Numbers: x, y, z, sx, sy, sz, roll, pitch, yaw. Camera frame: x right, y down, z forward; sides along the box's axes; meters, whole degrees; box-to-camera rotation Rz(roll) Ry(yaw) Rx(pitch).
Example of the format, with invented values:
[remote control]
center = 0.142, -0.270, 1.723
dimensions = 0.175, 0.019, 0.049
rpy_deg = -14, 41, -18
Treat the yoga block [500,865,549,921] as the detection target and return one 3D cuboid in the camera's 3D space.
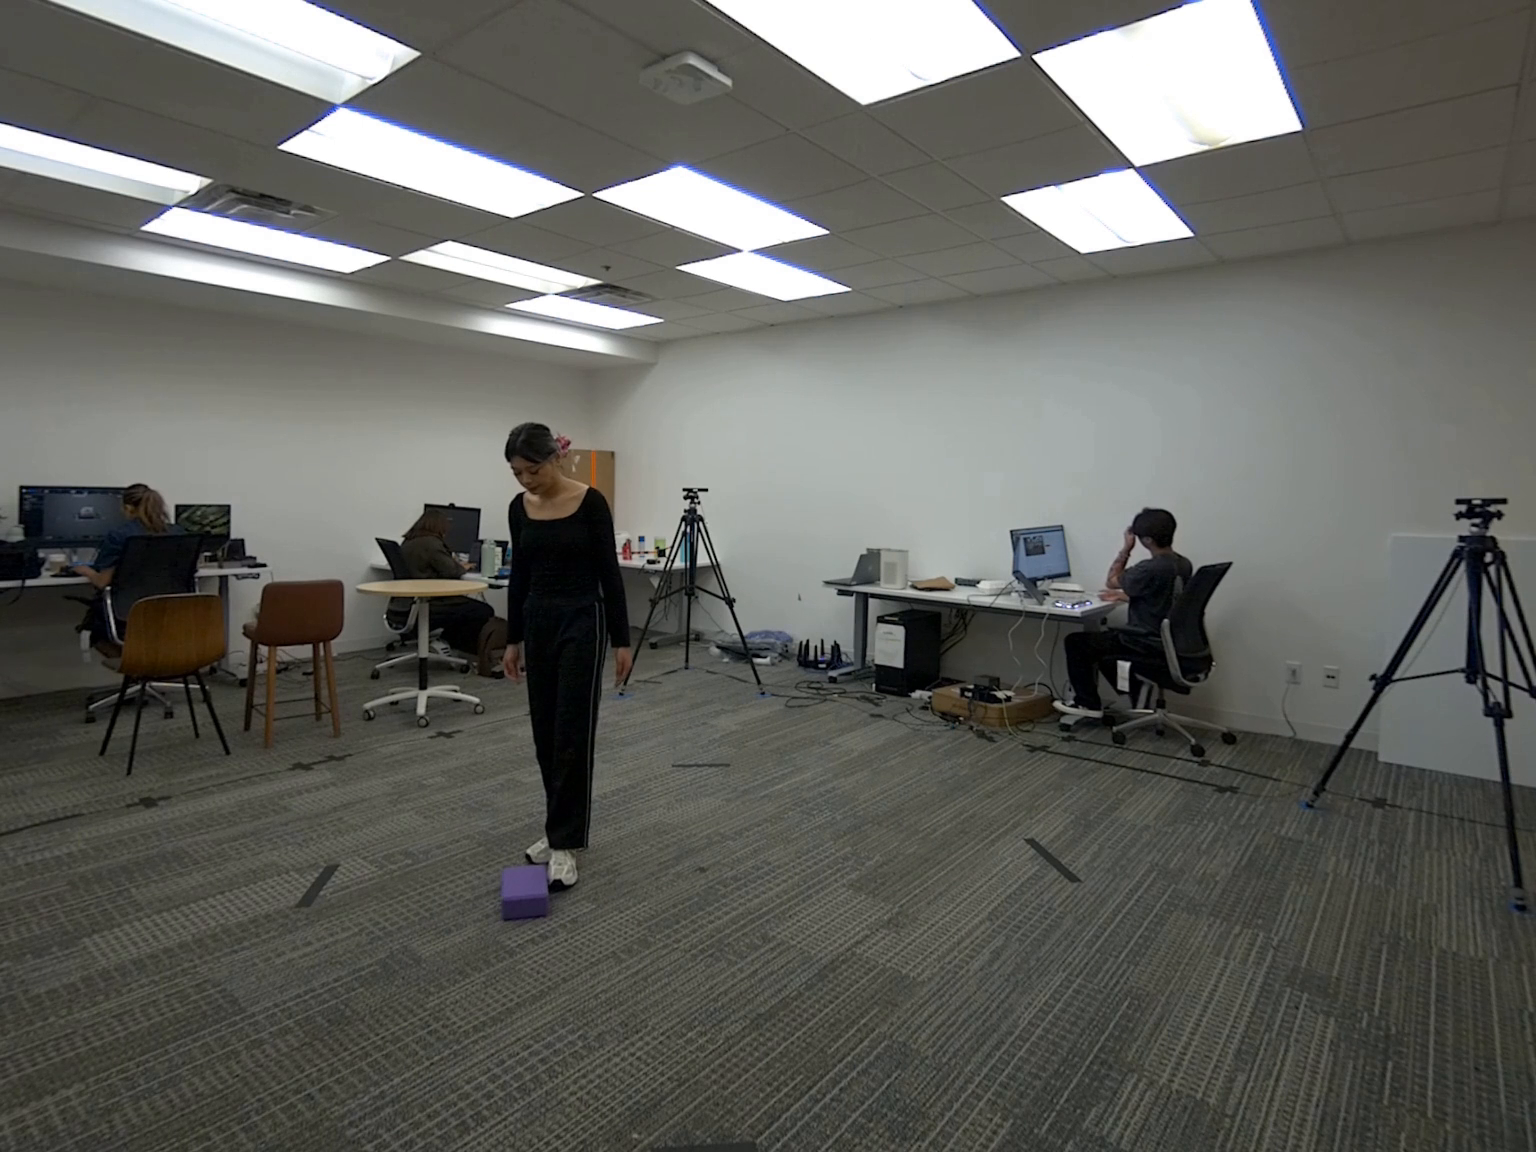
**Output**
[yoga block]
center = -0.823, 1.045, 2.835
dimensions = 0.146, 0.076, 0.234
rpy_deg = 3, 6, -16
